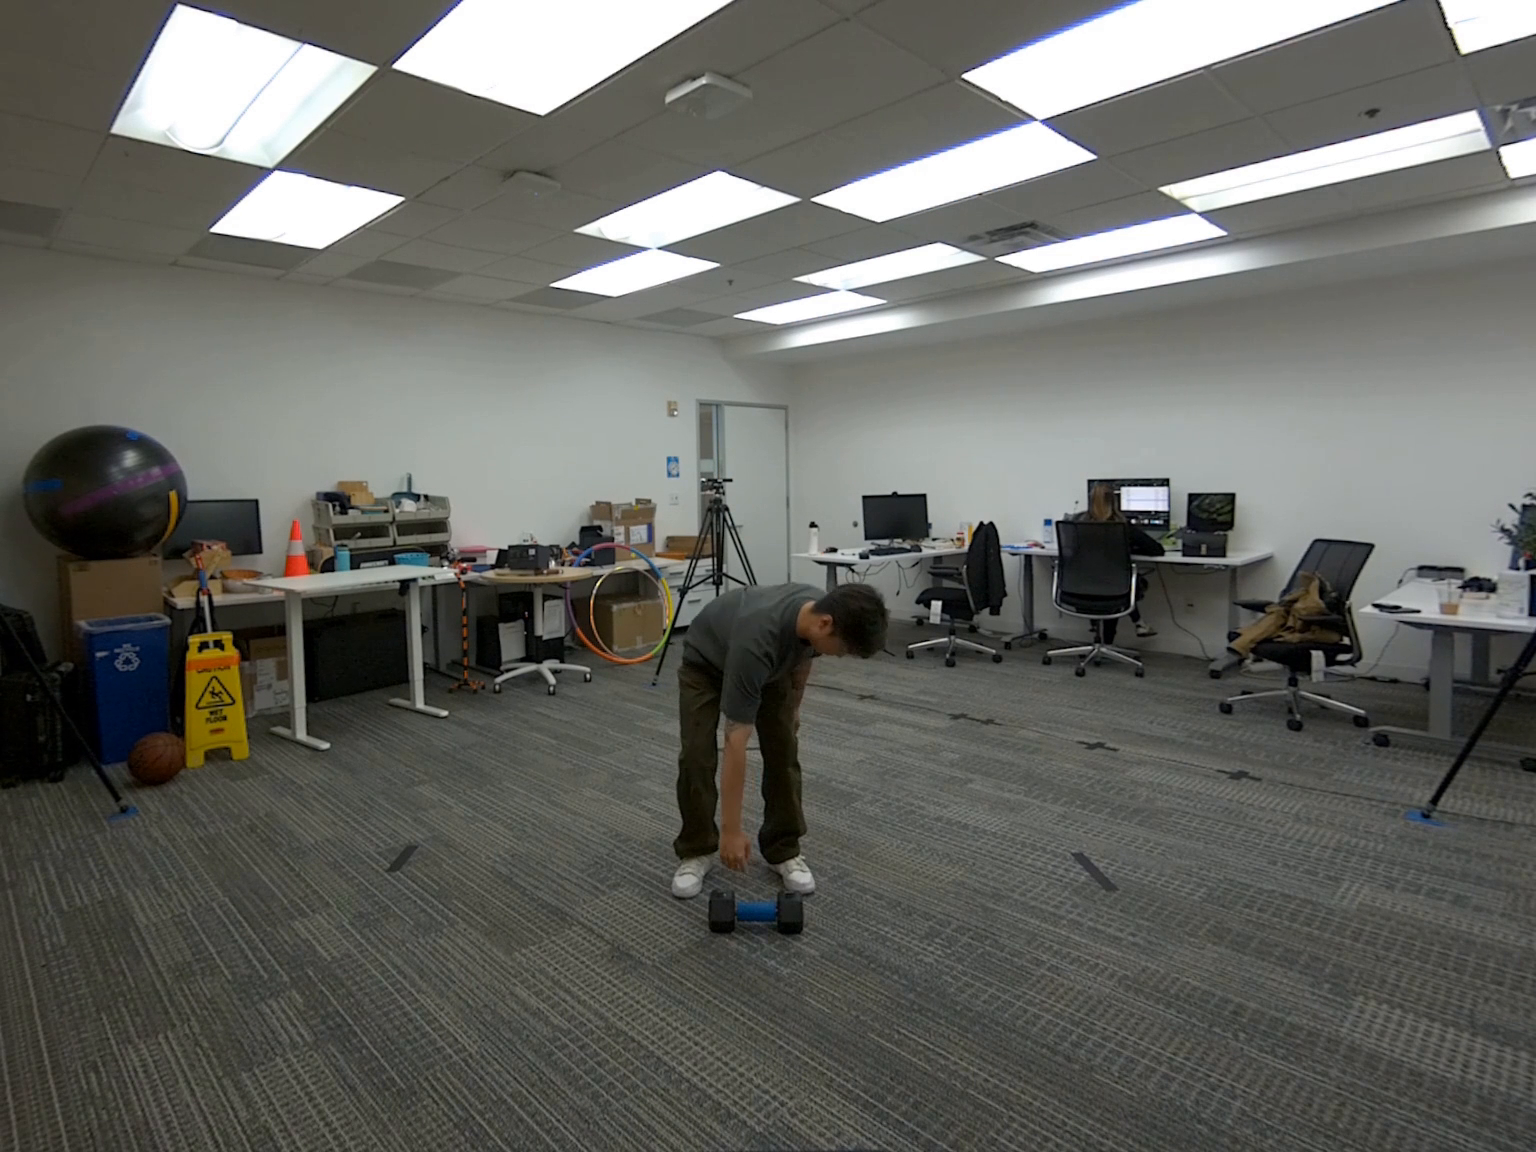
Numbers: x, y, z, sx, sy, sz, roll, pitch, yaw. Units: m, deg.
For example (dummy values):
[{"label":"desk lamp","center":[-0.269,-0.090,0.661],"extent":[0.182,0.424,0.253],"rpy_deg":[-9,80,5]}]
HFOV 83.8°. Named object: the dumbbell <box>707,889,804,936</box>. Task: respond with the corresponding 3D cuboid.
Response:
[{"label":"dumbbell","center":[-0.032,1.046,2.653],"extent":[0.295,0.119,0.111],"rpy_deg":[0,35,4]}]
